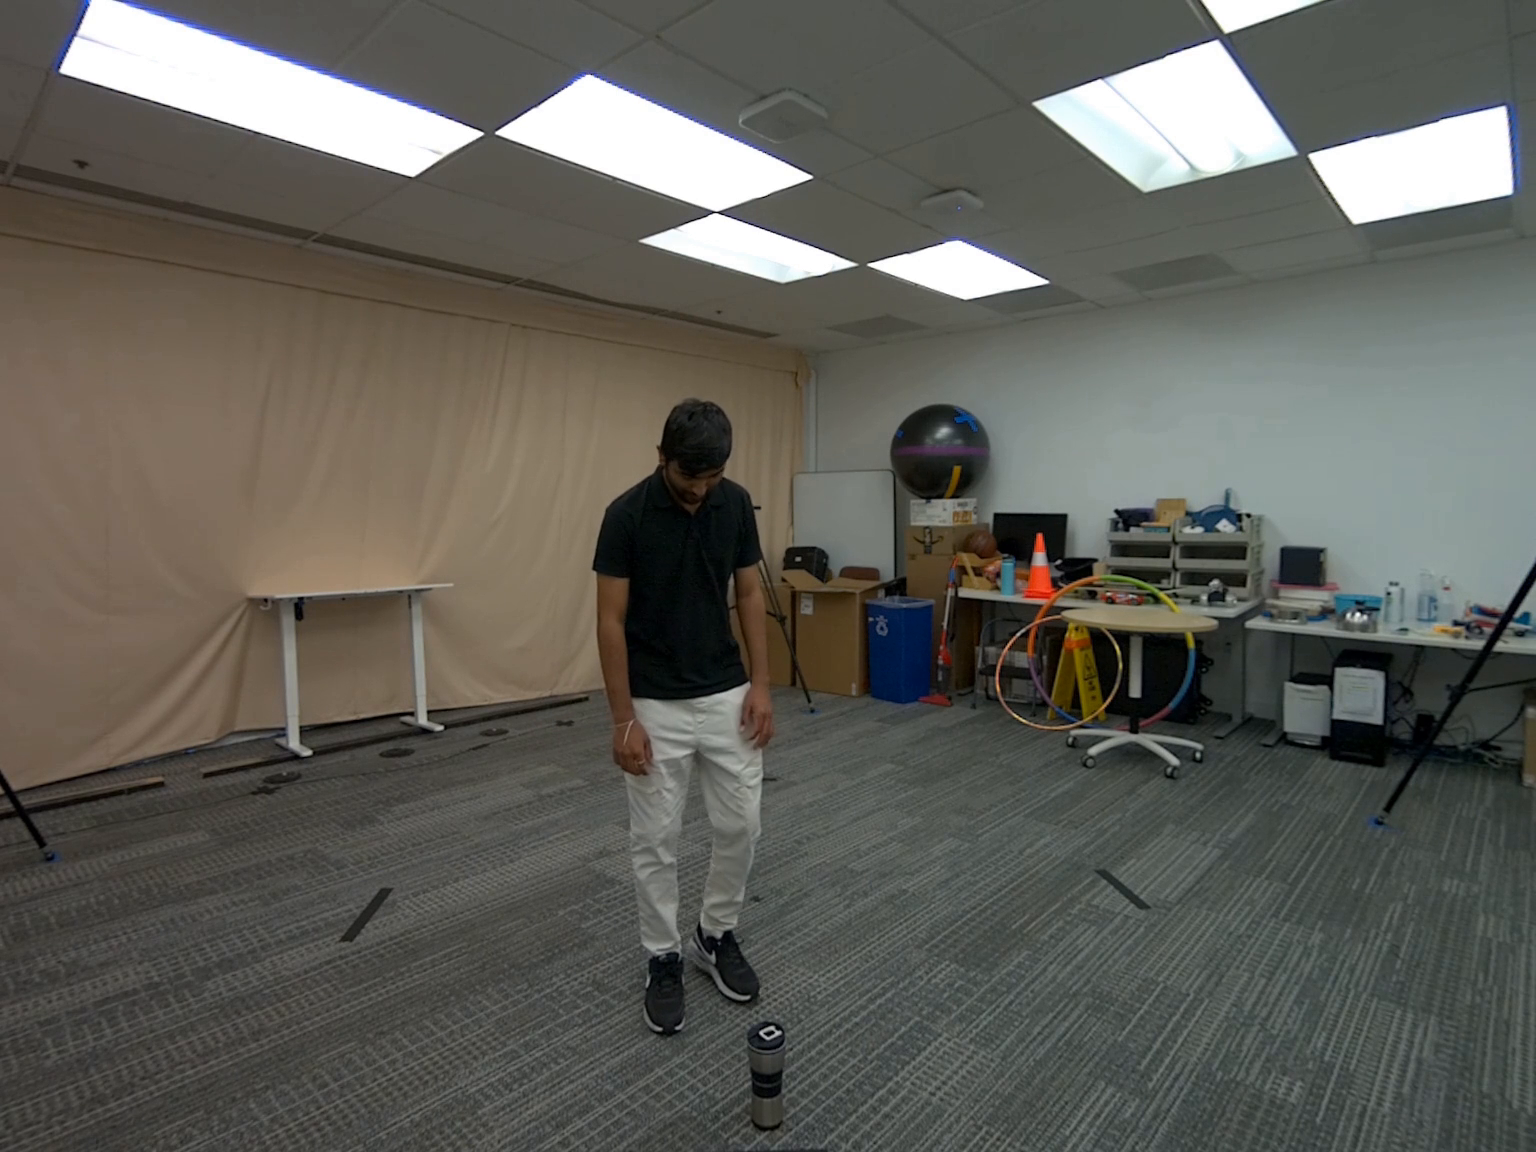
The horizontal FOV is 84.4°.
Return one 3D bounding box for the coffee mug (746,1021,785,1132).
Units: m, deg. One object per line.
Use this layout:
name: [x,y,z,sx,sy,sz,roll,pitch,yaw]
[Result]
coffee mug: [0.017,1.138,1.911,0.091,0.202,0.118,-2,5,45]
